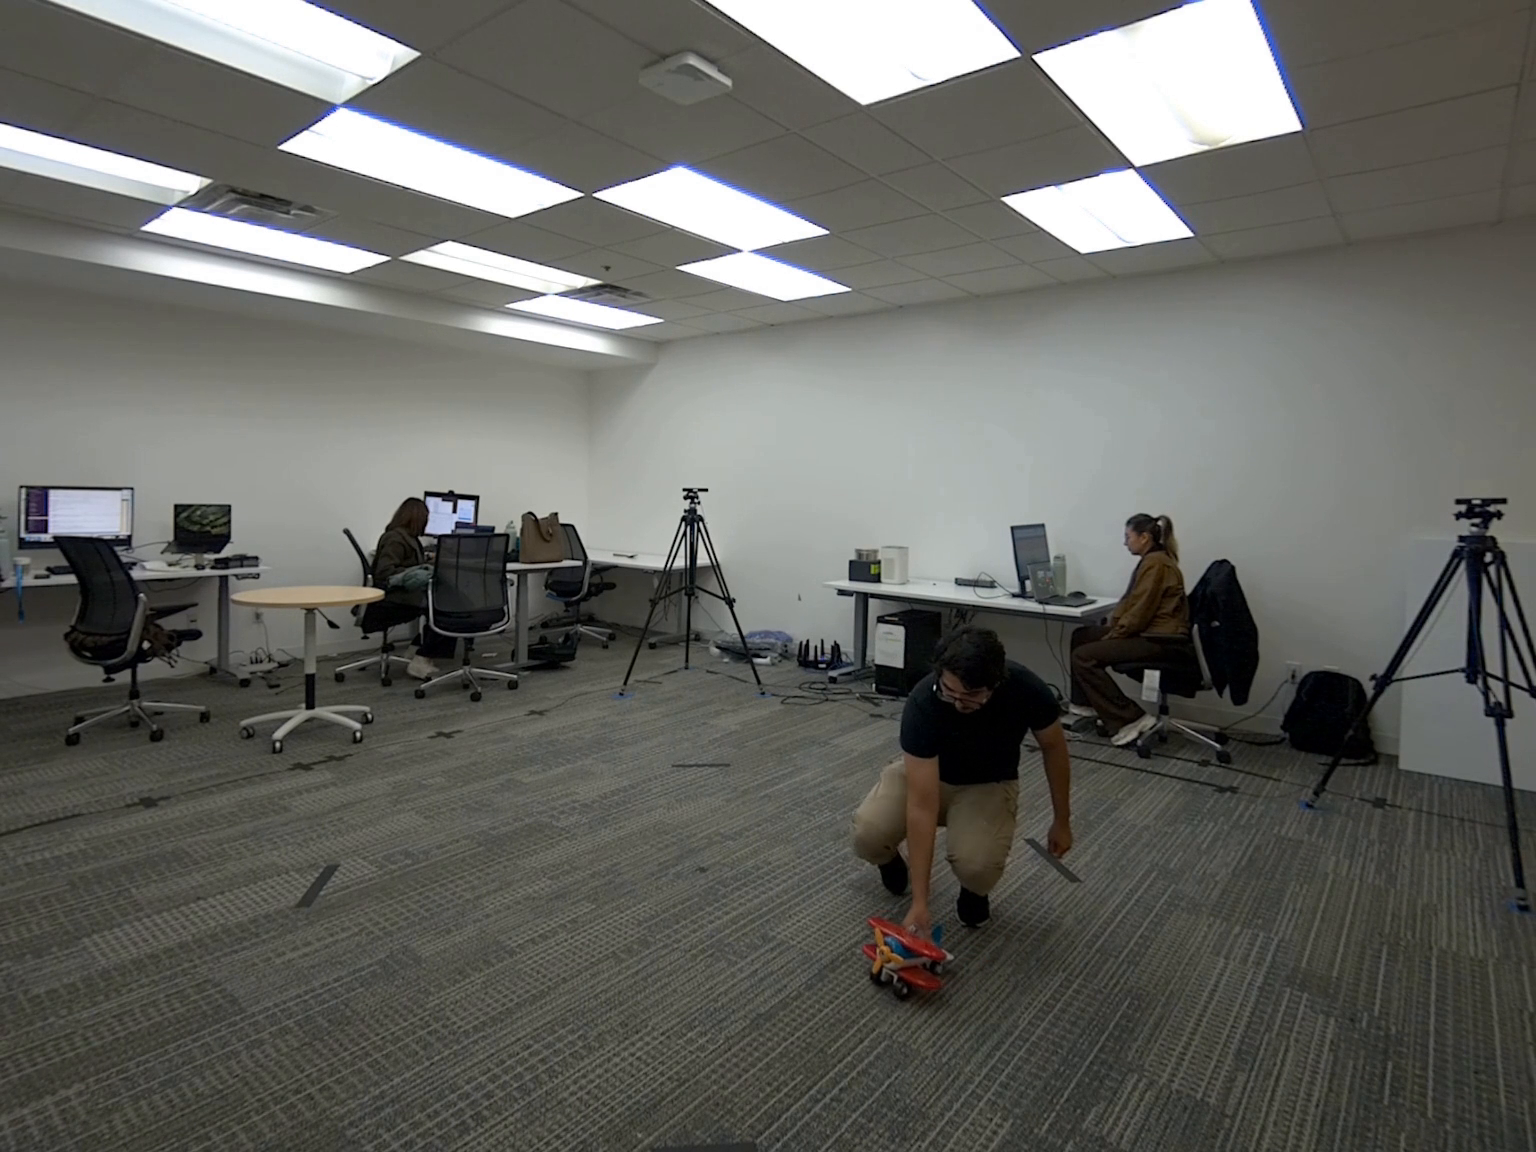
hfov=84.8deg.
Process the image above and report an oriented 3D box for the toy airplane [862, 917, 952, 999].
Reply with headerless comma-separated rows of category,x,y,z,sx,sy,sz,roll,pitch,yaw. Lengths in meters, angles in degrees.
toy airplane,0.389,1.075,2.431,0.257,0.156,0.254,3,6,22
